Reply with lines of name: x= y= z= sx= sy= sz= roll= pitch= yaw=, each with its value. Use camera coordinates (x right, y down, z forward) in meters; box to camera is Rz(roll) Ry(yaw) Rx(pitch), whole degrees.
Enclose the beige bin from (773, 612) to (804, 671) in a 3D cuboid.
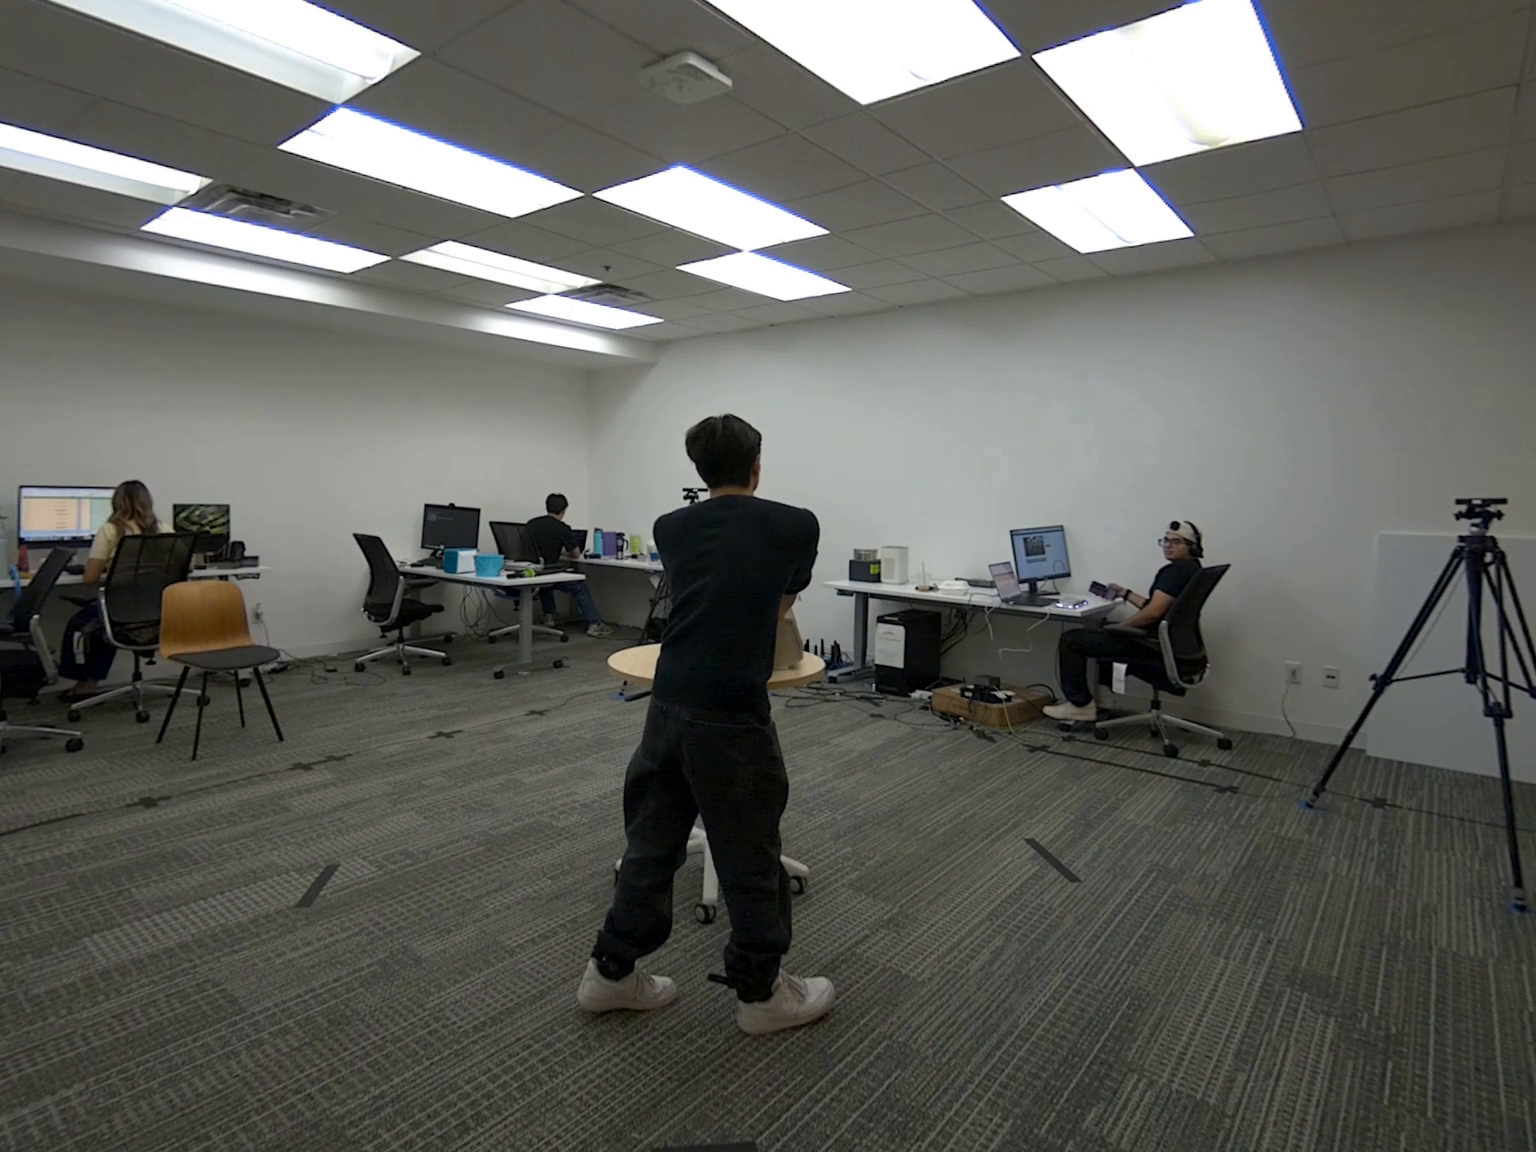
beige bin: x=-0.083 y=0.199 z=3.059 sx=0.377 sy=0.188 sz=0.424 roll=-2 pitch=6 yaw=-1
